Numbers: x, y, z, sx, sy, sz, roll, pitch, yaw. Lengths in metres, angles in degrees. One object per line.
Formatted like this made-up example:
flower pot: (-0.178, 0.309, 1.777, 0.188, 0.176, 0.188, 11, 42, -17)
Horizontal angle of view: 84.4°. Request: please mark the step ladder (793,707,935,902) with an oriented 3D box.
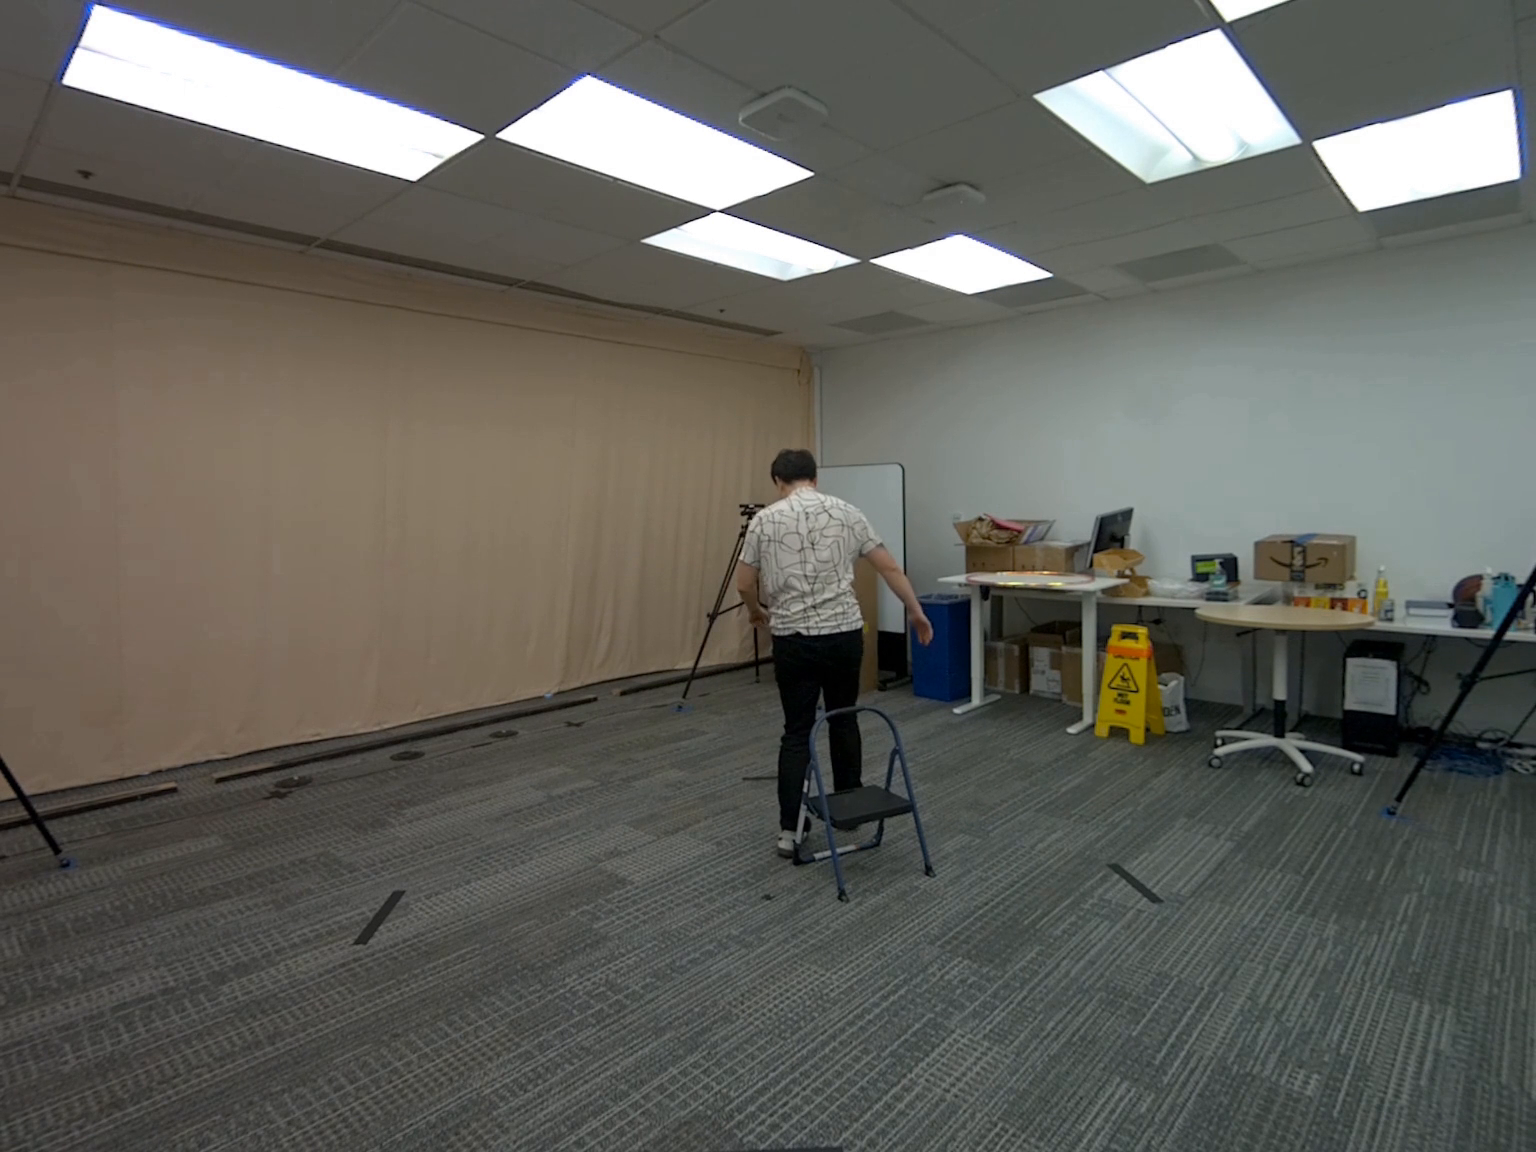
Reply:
step ladder: (0.360, 0.814, 3.169, 0.419, 0.604, 0.359, -3, 4, -30)
